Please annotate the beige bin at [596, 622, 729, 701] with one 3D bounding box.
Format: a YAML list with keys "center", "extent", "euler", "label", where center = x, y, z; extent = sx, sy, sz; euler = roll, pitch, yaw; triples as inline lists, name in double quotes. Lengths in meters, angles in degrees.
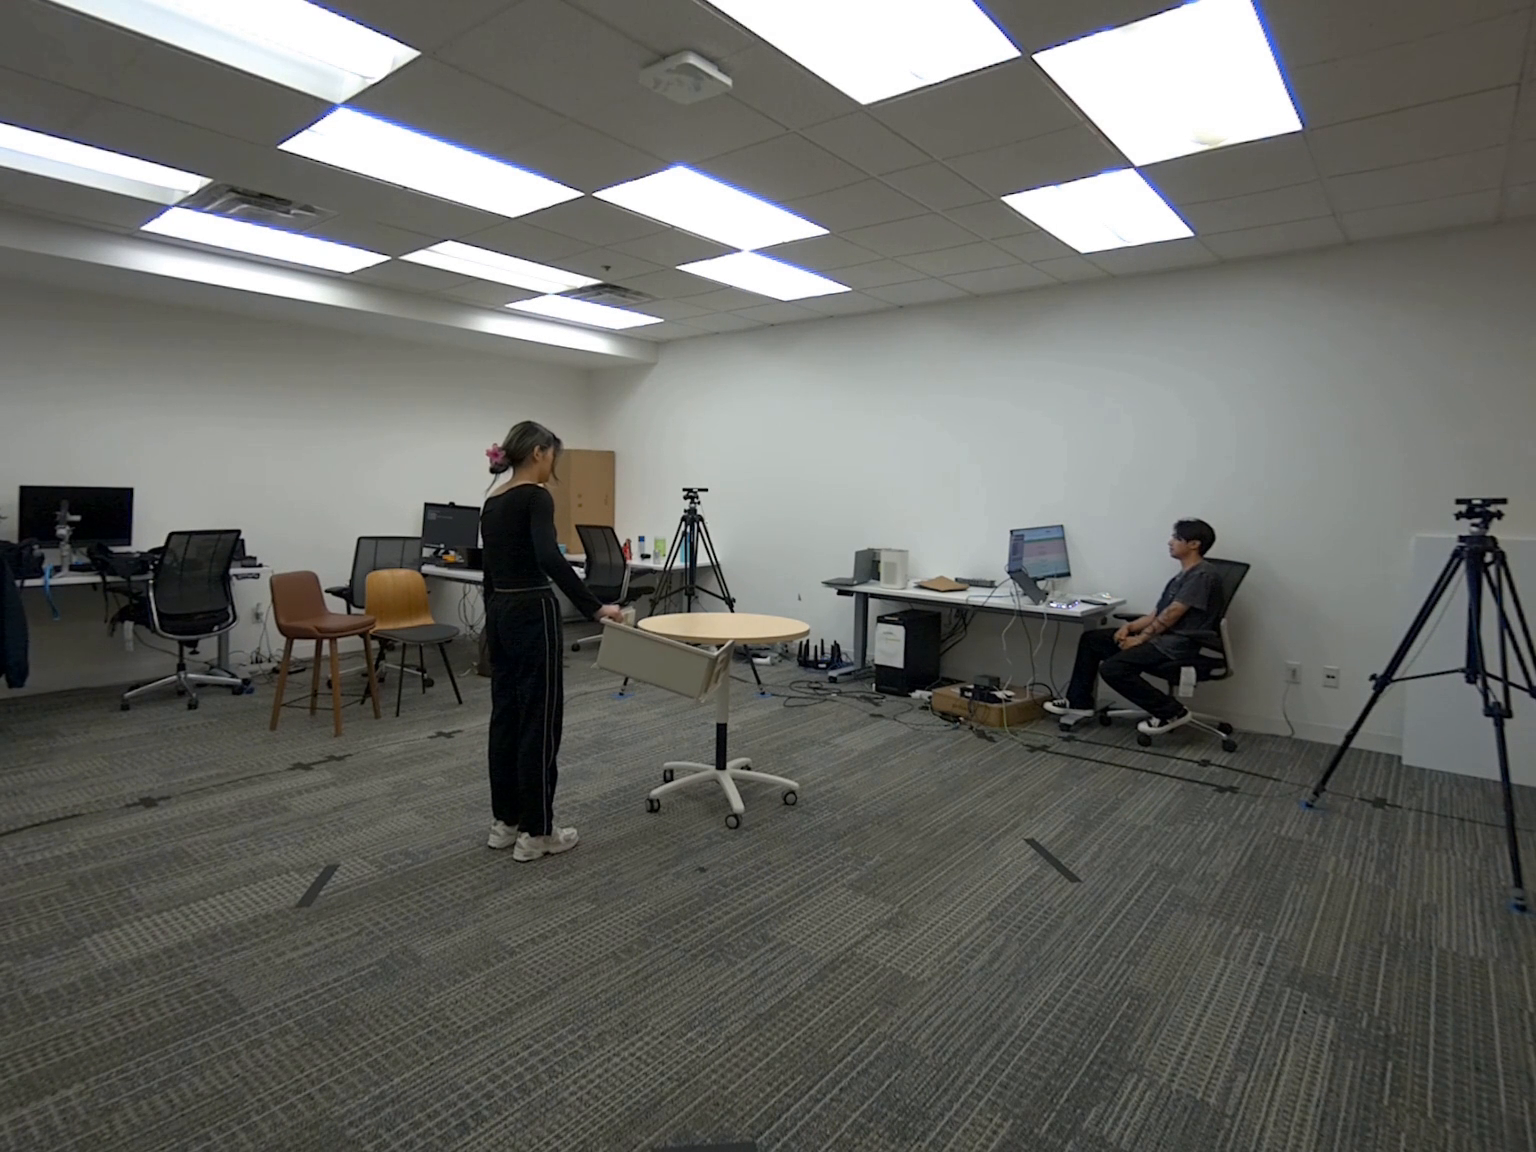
- center: [-0.372, 0.275, 3.063]
  extent: [0.428, 0.188, 0.374]
  euler: [15, 8, 10]
  label: "beige bin"
